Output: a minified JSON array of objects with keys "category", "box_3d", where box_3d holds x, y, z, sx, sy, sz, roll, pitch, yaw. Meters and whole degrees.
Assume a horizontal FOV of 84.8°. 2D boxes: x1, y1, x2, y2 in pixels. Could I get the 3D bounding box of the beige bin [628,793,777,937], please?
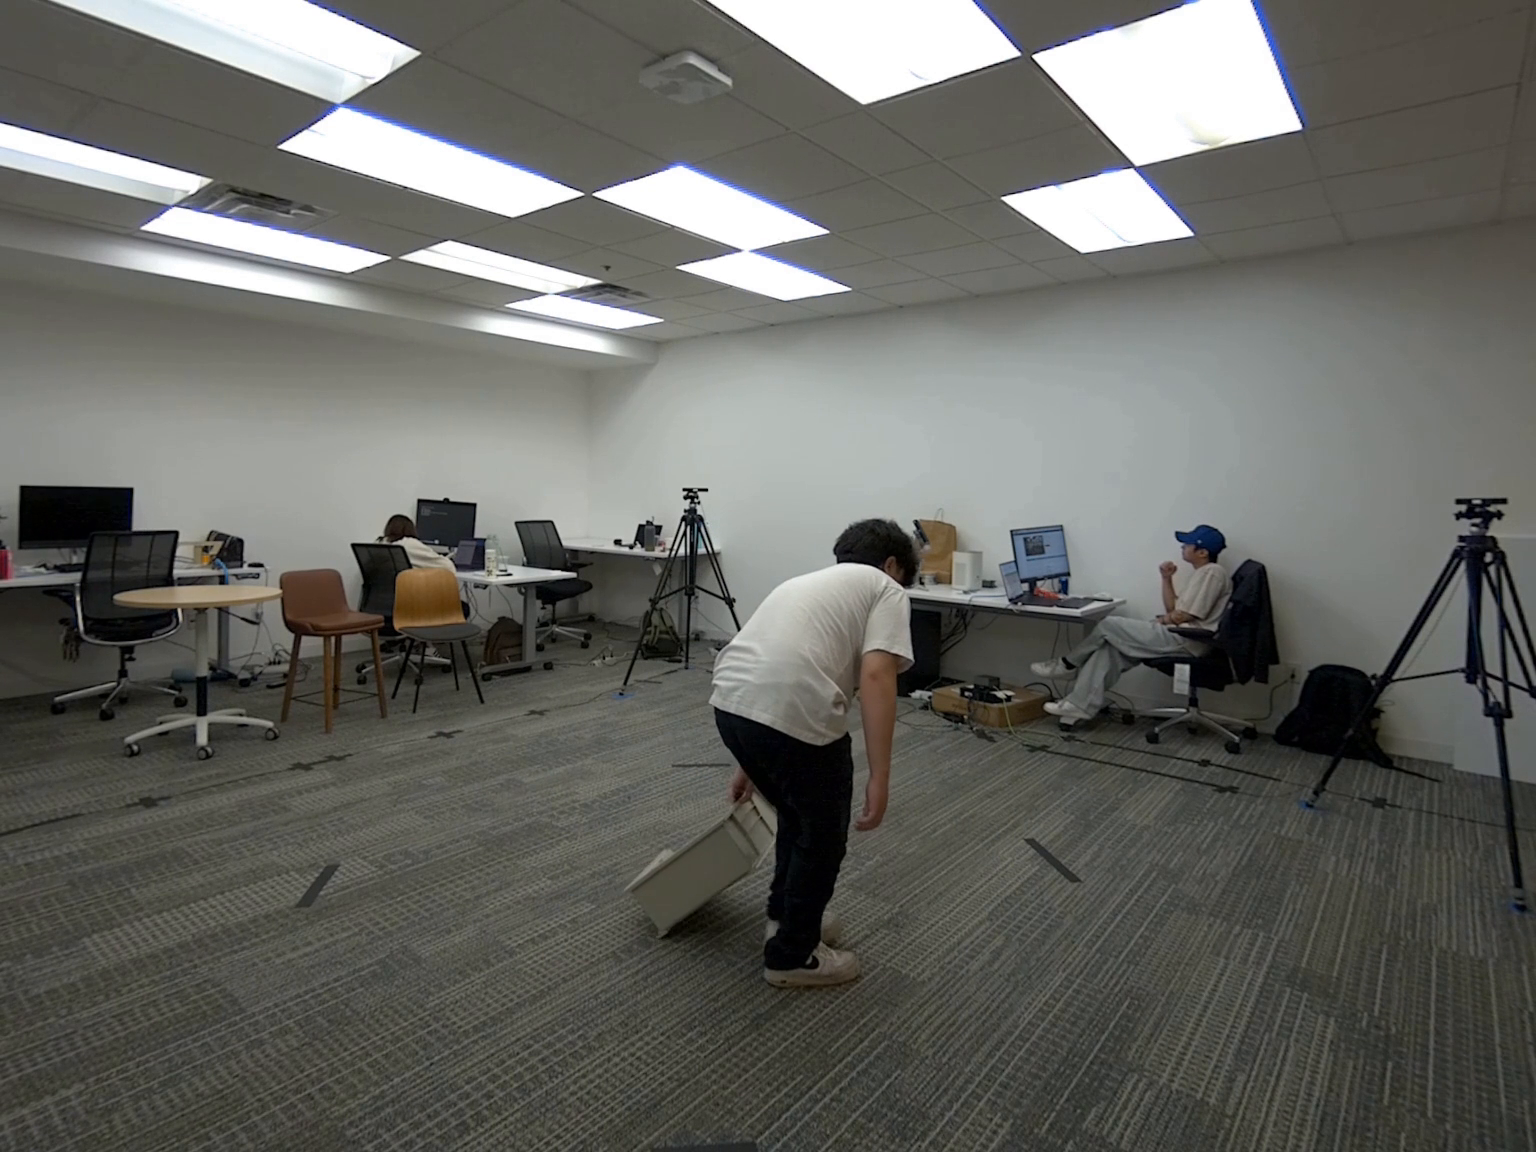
[{"category":"beige bin","box_3d":[-0.203,0.902,2.739,0.423,0.191,0.372,-39,-5,15]}]
